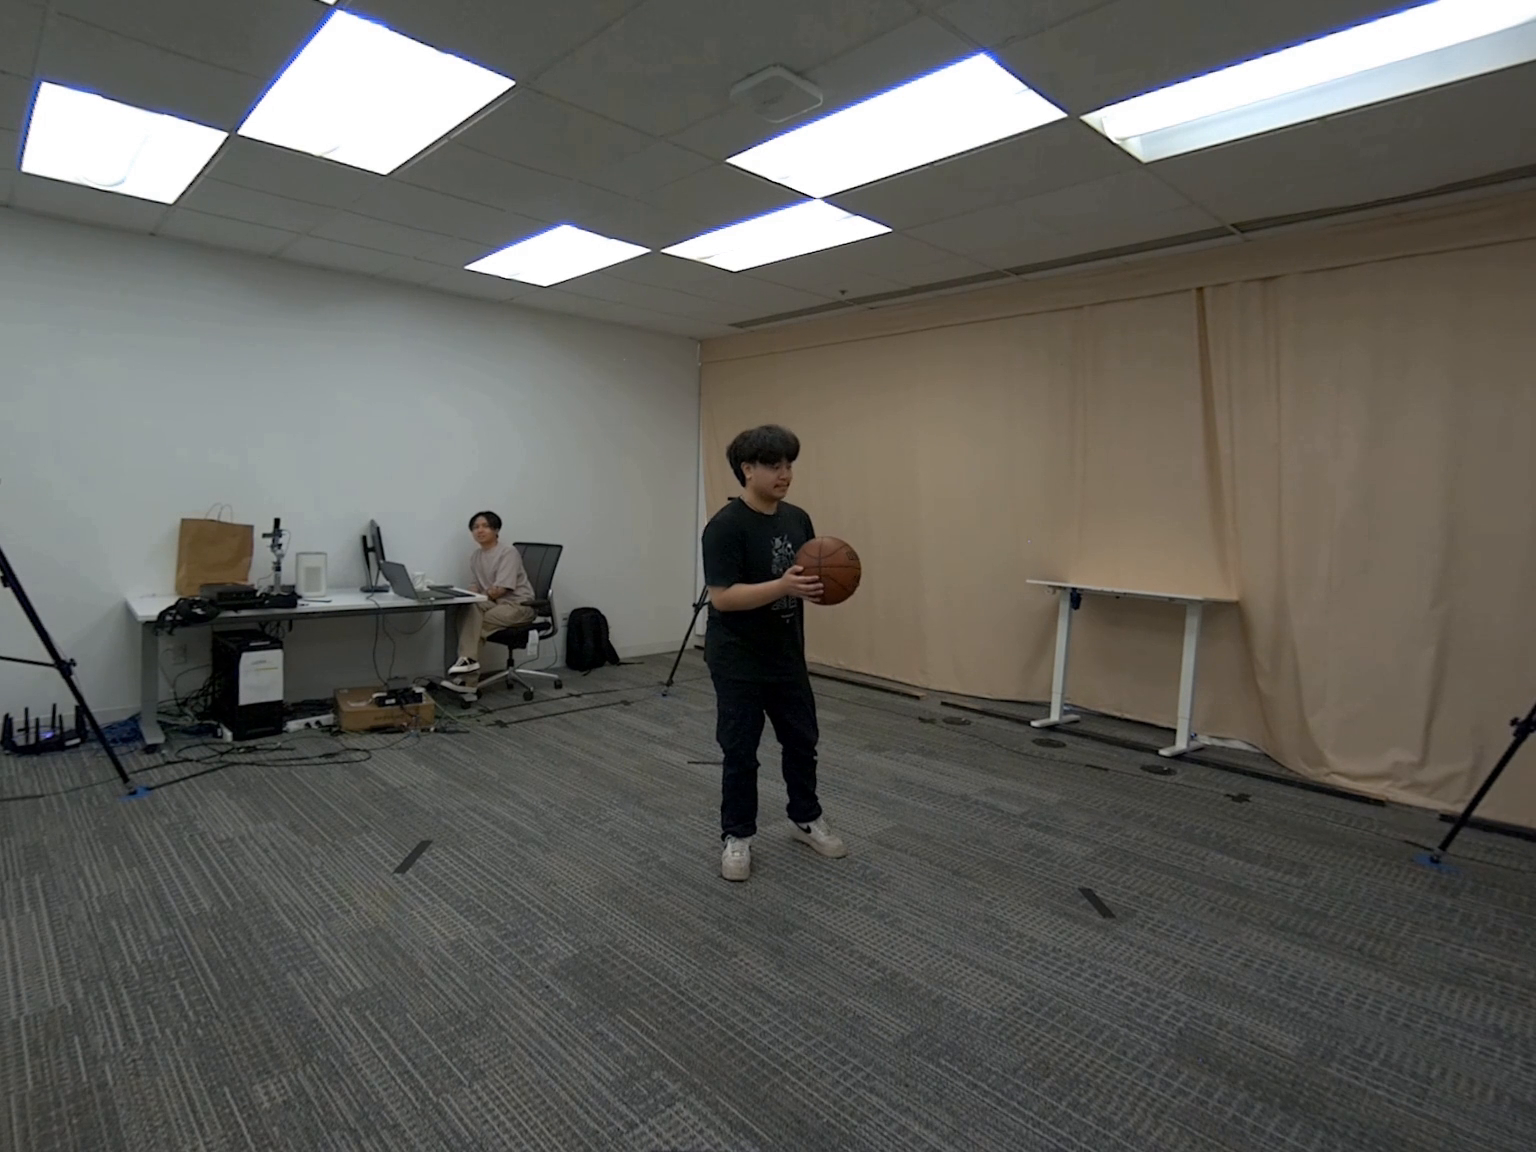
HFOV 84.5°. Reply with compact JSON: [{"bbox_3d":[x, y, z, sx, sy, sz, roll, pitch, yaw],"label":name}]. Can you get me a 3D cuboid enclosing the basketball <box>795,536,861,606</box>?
[{"bbox_3d":[0.193,-0.014,2.895,0.236,0.235,0.237,1,4,-1],"label":"basketball"}]
